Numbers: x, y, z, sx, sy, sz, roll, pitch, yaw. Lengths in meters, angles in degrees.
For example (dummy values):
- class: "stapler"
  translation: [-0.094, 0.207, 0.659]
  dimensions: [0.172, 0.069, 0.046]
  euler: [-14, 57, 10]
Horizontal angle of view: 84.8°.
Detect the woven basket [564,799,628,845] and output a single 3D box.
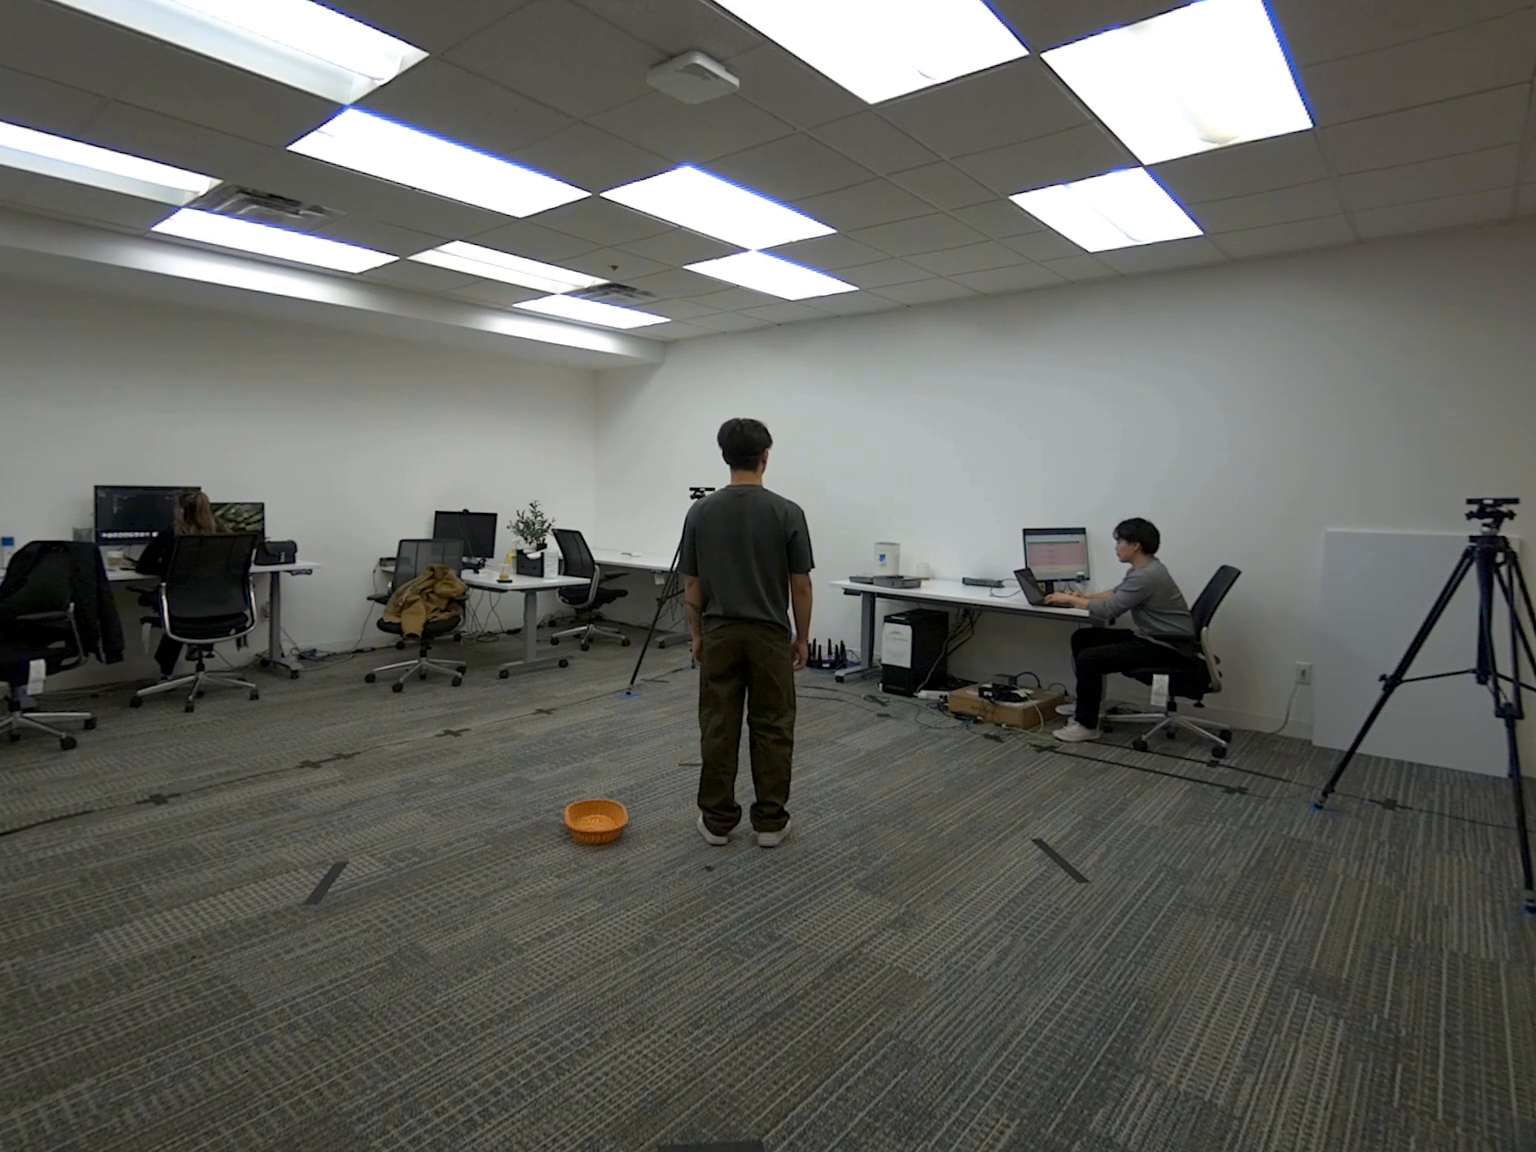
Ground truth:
- class: "woven basket"
  translation: [-0.705, 0.992, 3.434]
  dimensions: [0.250, 0.073, 0.356]
  euler: [0, 6, -11]
